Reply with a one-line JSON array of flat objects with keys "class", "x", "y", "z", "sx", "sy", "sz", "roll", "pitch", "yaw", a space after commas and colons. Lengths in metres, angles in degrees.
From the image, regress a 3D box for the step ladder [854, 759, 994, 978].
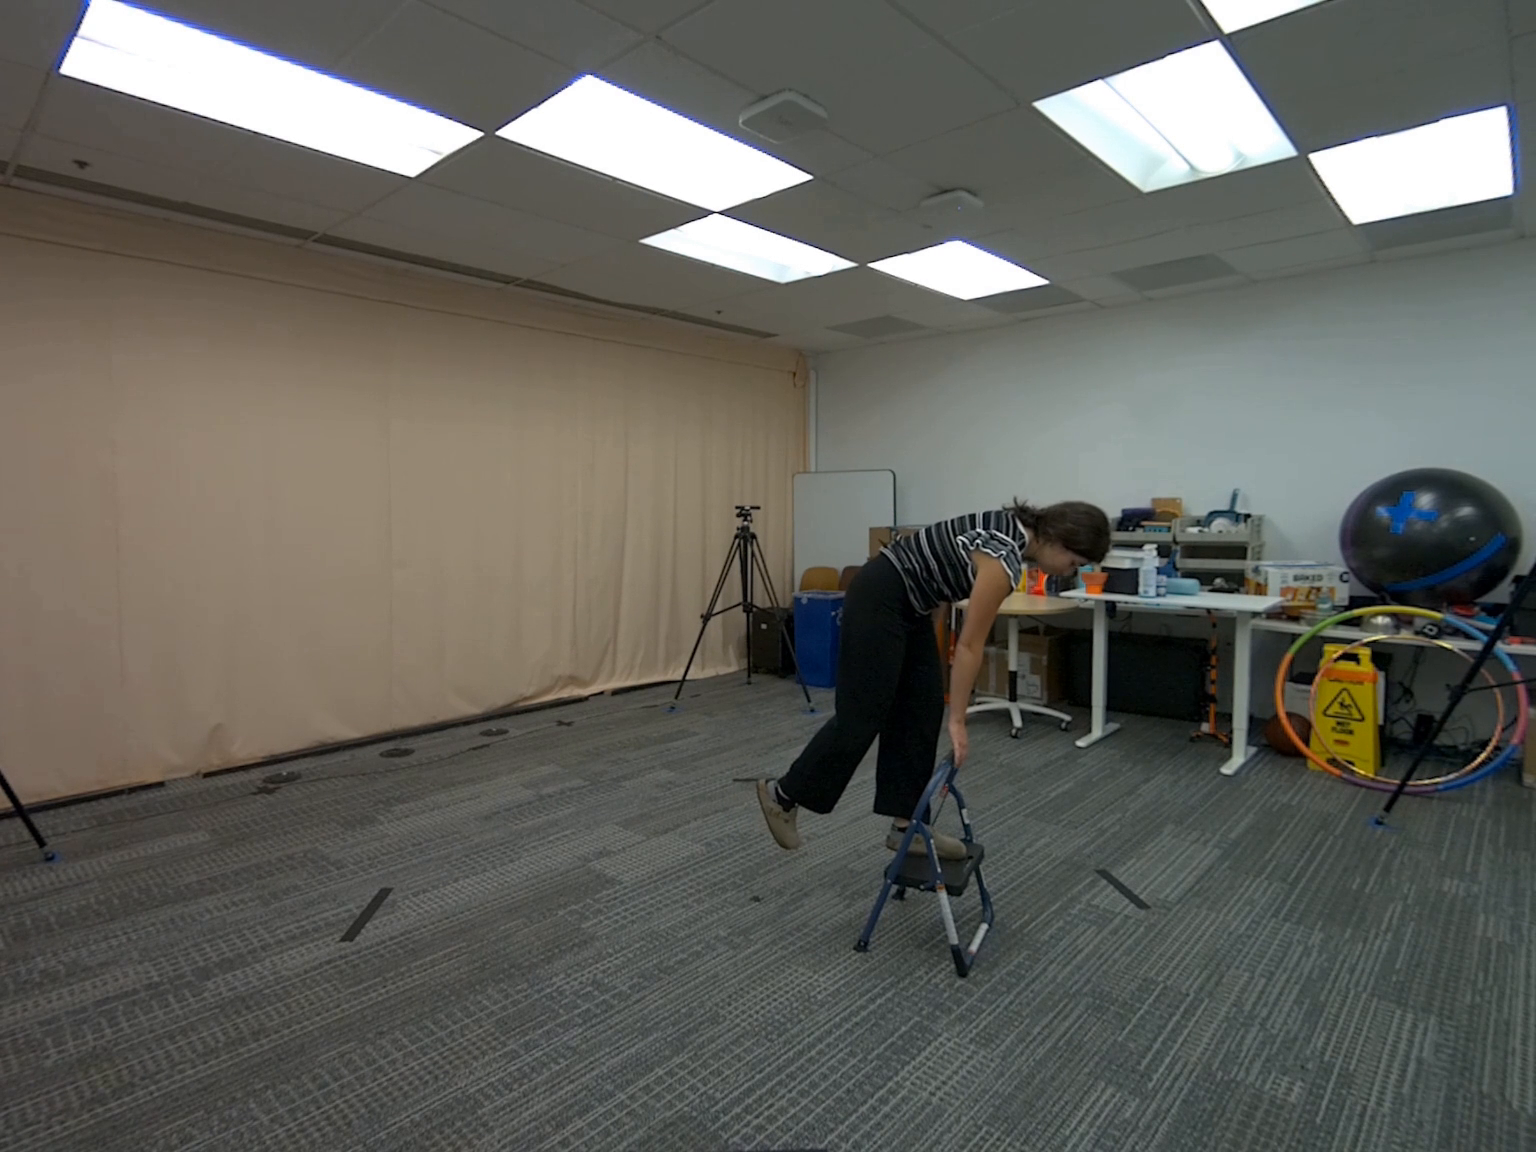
[{"class": "step ladder", "x": 0.521, "y": 0.864, "z": 2.719, "sx": 0.359, "sy": 0.604, "sz": 0.420, "roll": 1, "pitch": 4, "yaw": 27}]
